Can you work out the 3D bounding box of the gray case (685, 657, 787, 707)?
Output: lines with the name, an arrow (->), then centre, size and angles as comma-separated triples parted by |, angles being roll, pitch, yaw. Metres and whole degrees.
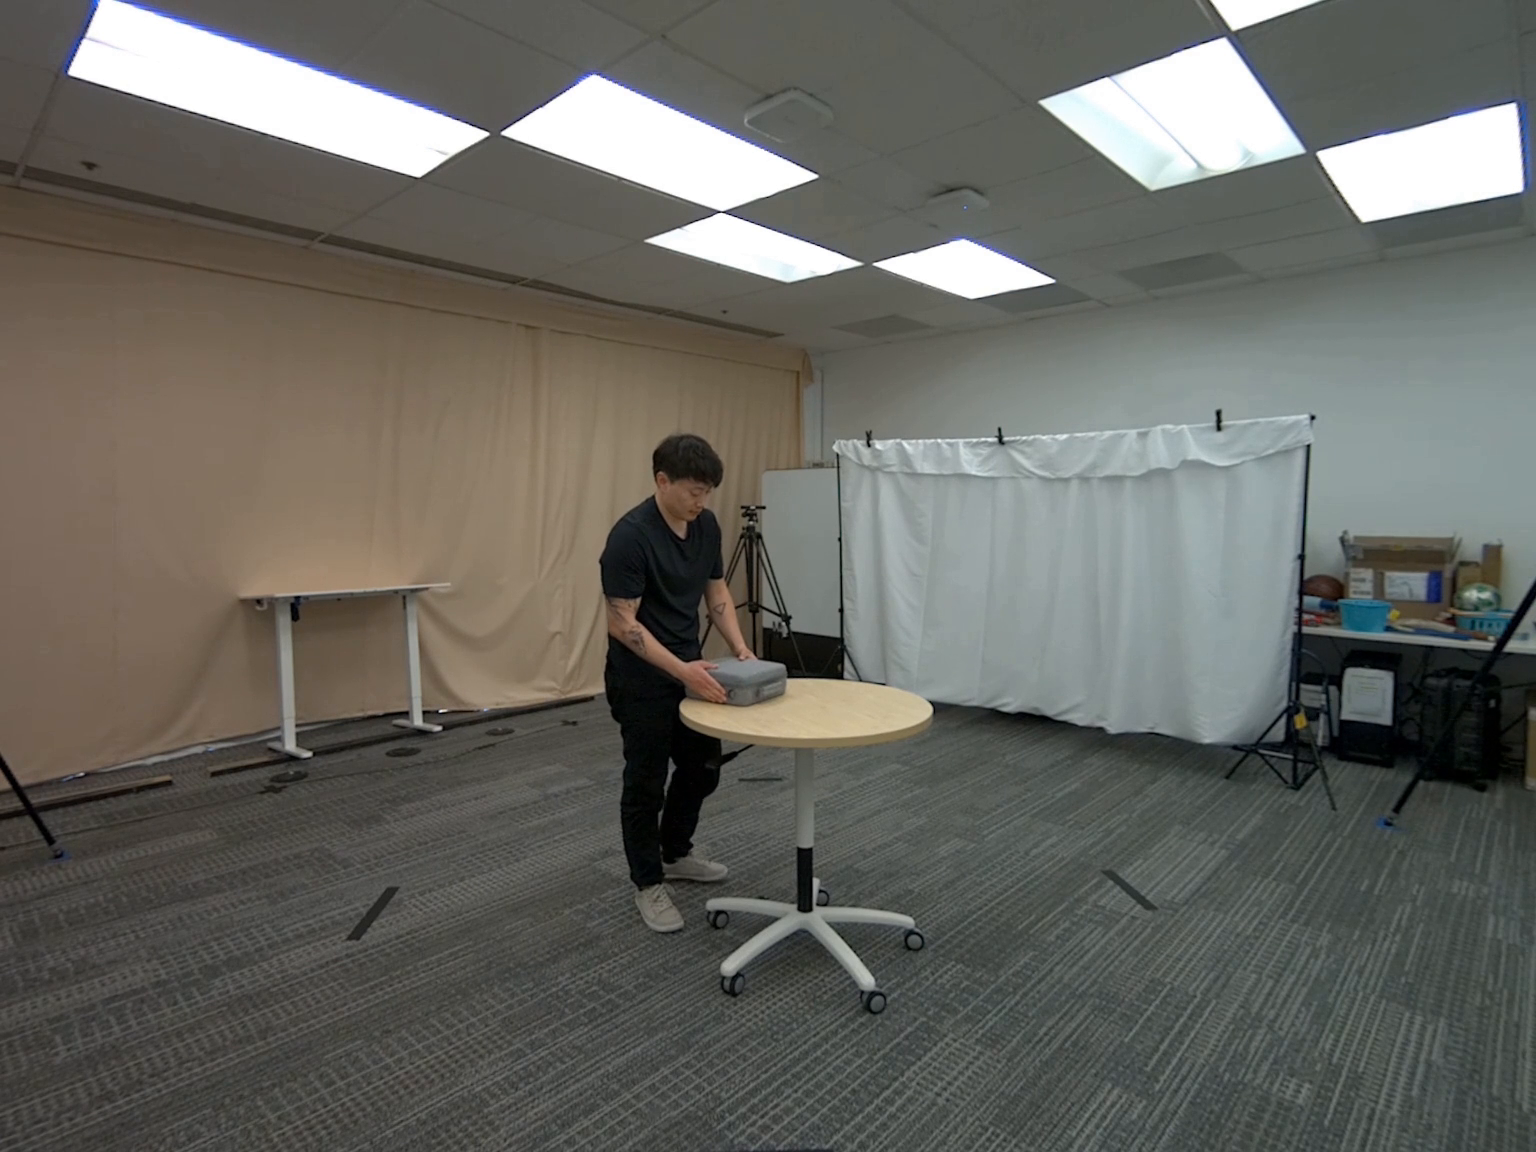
gray case -> -0.093, 0.333, 2.695 | 0.269, 0.104, 0.249 | 4, 4, 34
